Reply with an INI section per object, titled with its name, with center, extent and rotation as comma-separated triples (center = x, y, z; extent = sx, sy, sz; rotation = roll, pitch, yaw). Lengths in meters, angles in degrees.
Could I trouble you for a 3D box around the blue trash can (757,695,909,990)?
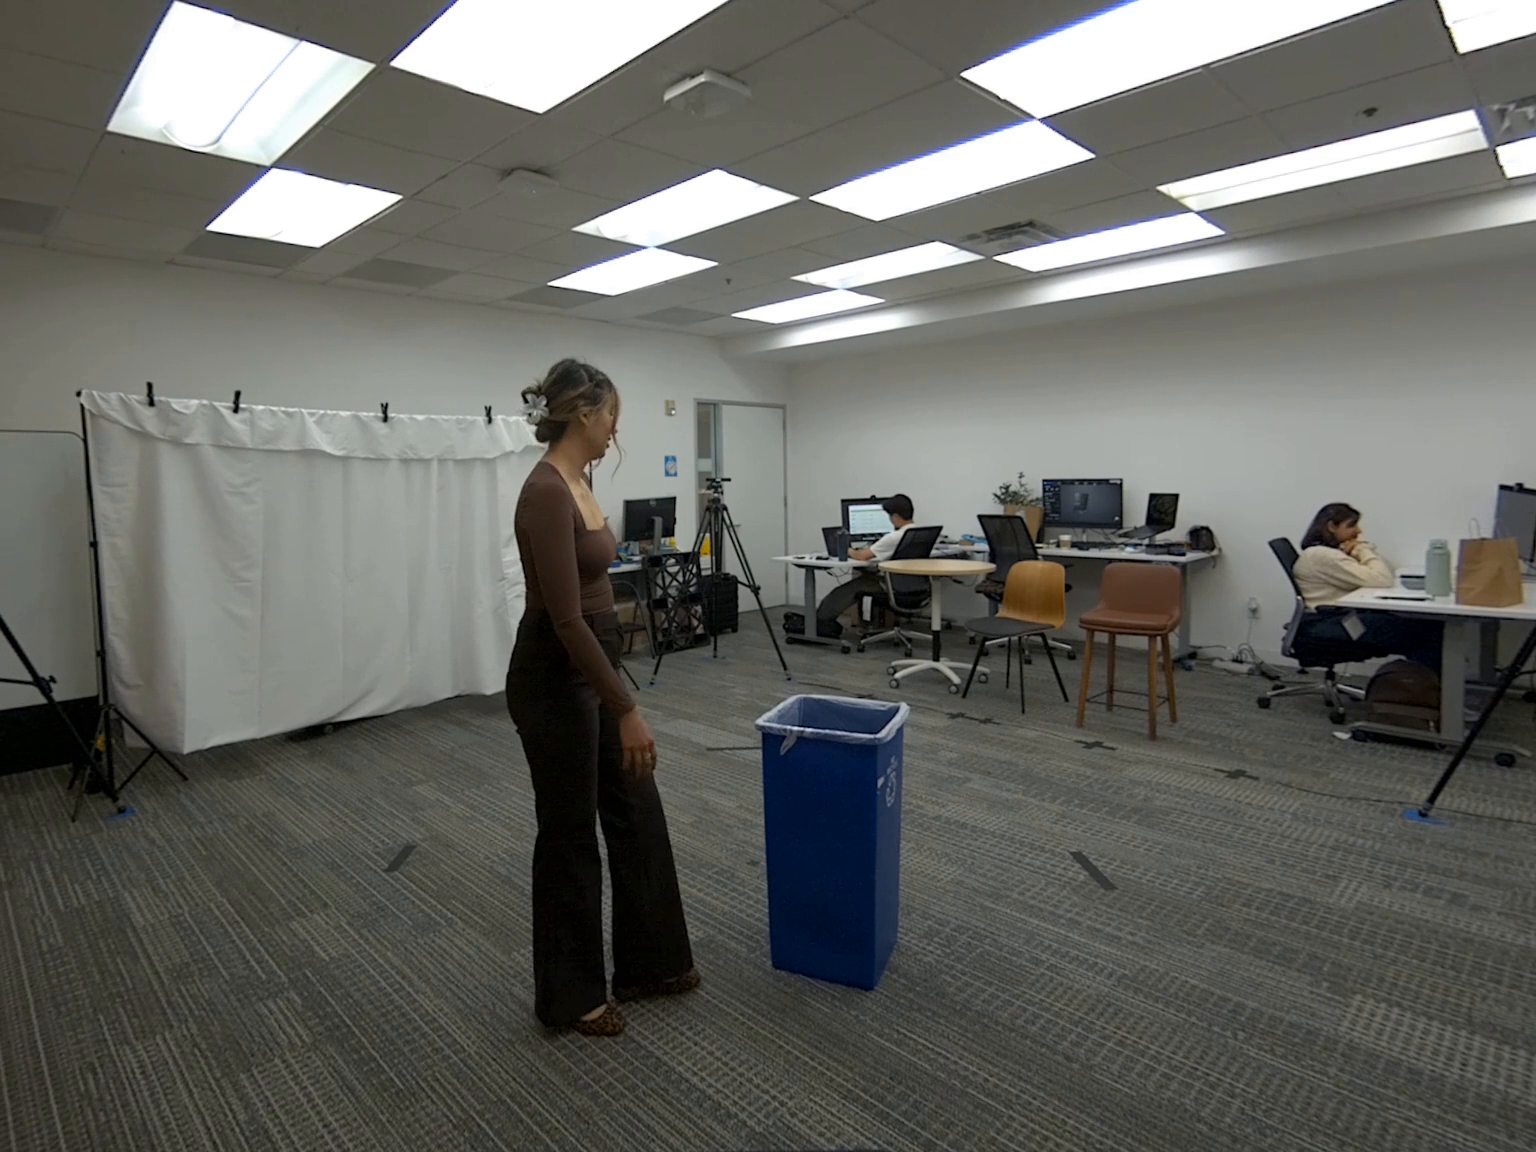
[blue trash can]
center = 0.202, 0.751, 2.499
extent = 0.387, 0.711, 0.367
rotation = 1, 5, 24
